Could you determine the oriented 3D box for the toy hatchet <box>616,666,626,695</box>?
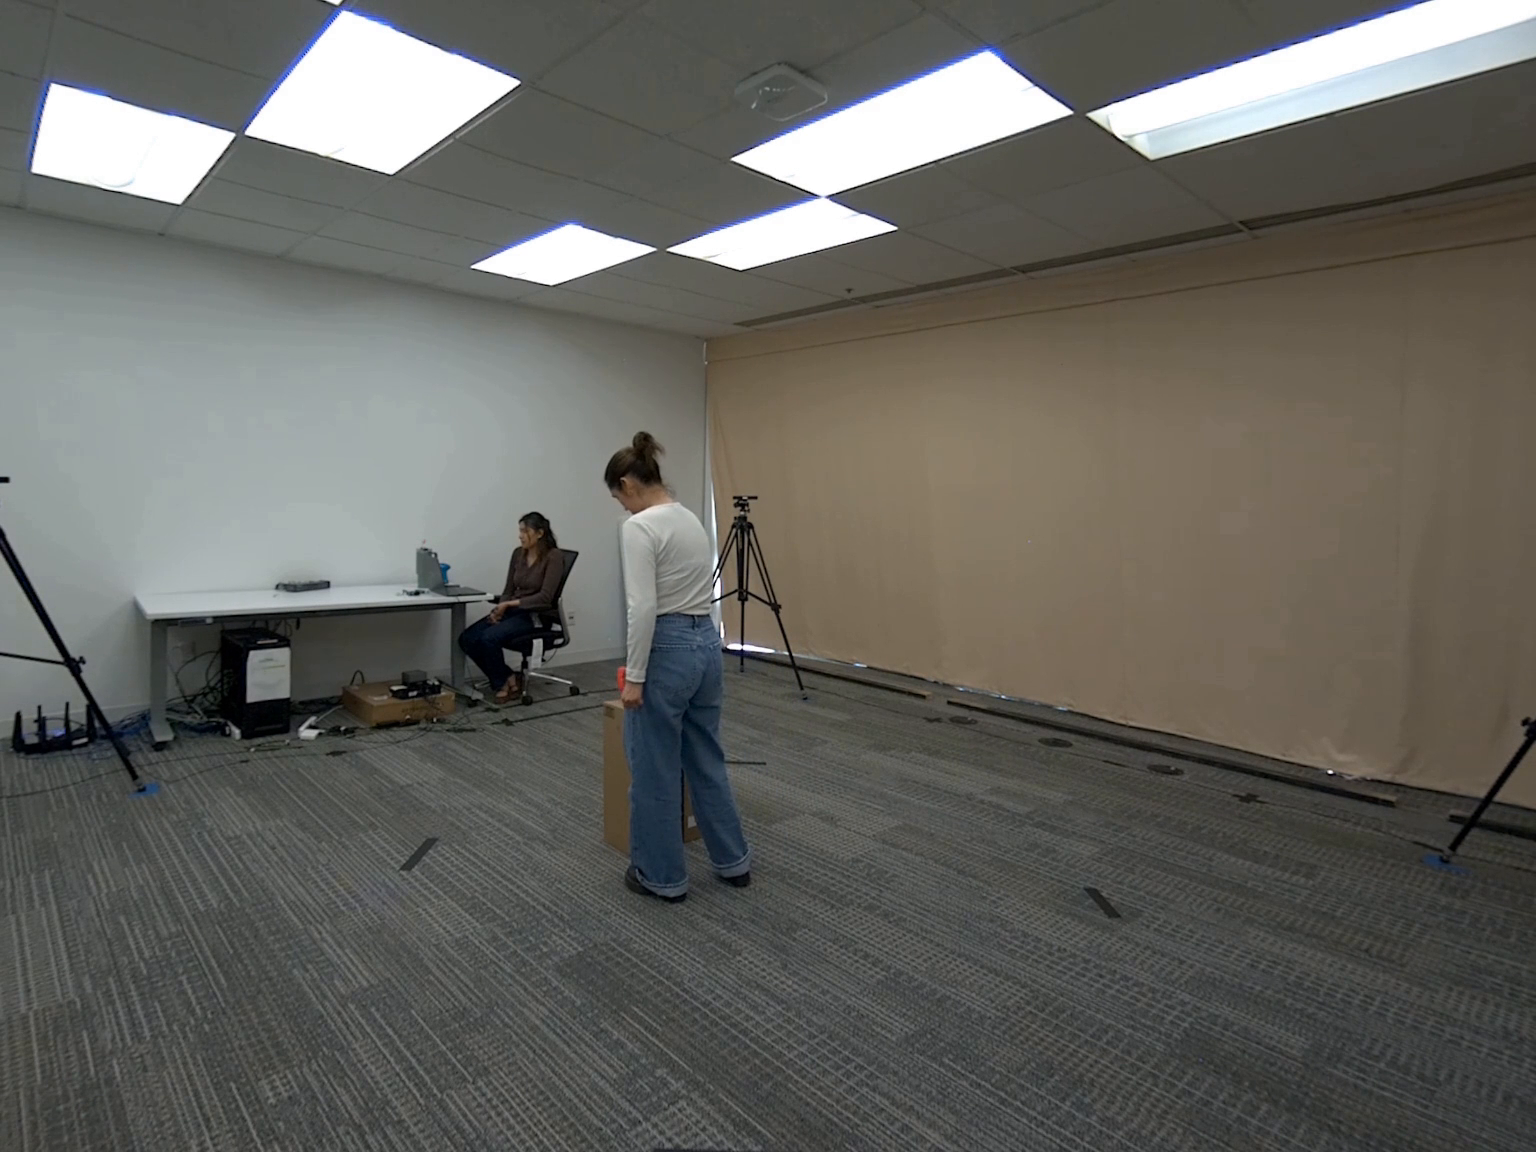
[{"bbox_3d":[-0.543,0.375,3.336,0.029,0.134,0.269,-2,-38,-40],"label":"toy hatchet"}]
